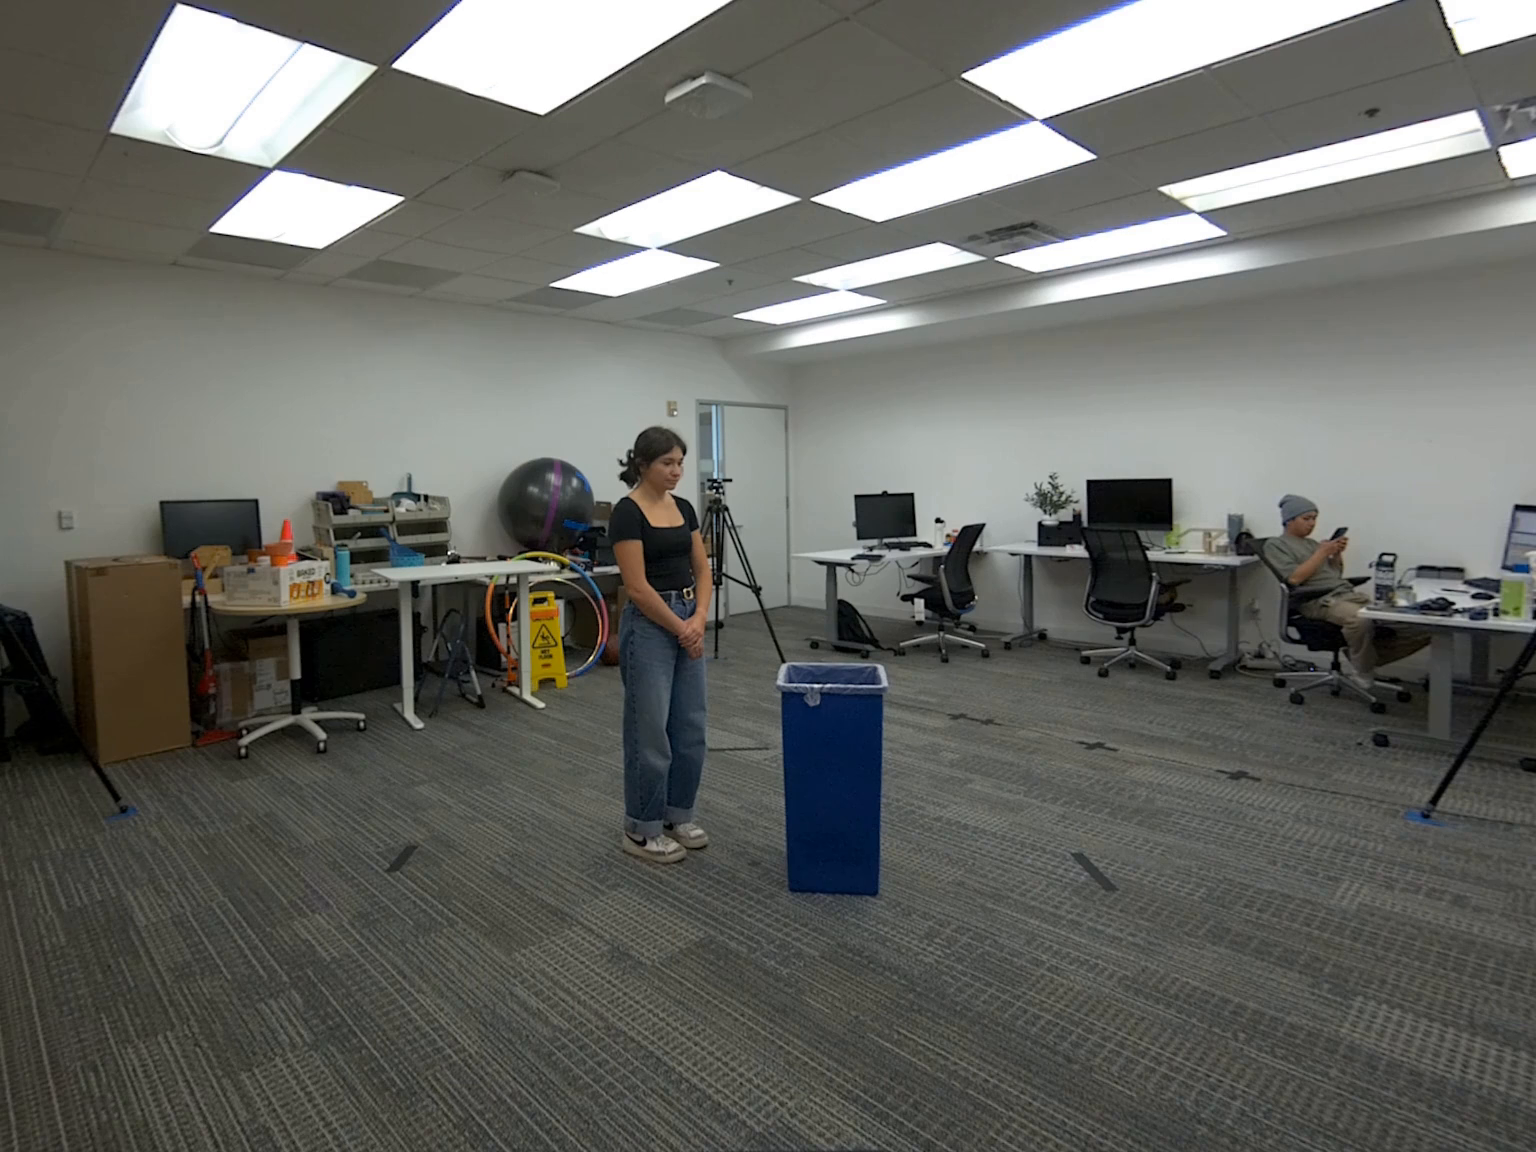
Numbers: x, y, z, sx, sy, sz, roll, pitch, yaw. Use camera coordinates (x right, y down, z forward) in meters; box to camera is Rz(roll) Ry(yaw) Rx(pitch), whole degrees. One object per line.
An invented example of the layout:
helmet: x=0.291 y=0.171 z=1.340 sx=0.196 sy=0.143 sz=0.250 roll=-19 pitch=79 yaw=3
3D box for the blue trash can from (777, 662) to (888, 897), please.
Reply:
blue trash can: x=0.235 y=0.699 z=2.998 sx=0.381 sy=0.711 sz=0.373 roll=1 pitch=4 yaw=7
